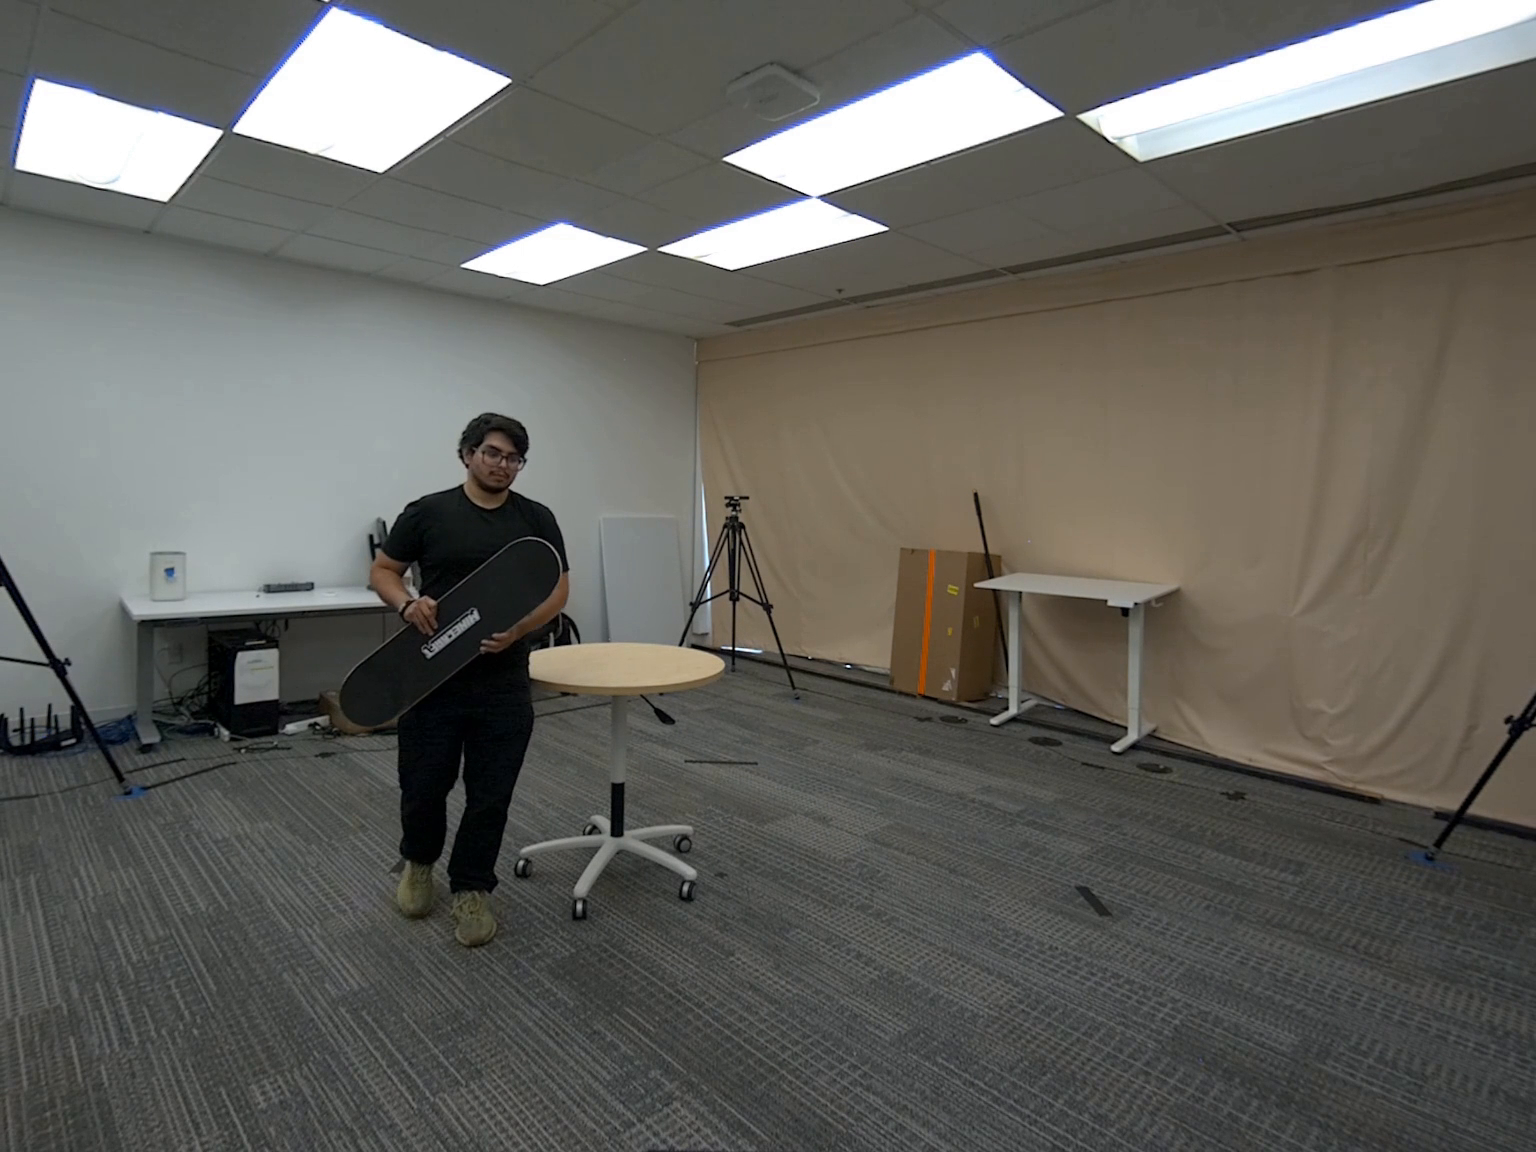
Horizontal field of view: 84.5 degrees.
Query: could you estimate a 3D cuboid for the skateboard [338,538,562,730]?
[{"bbox_3d":[-0.918,0.165,2.461,0.786,0.194,0.110,-38,-3,4],"label":"skateboard"}]
